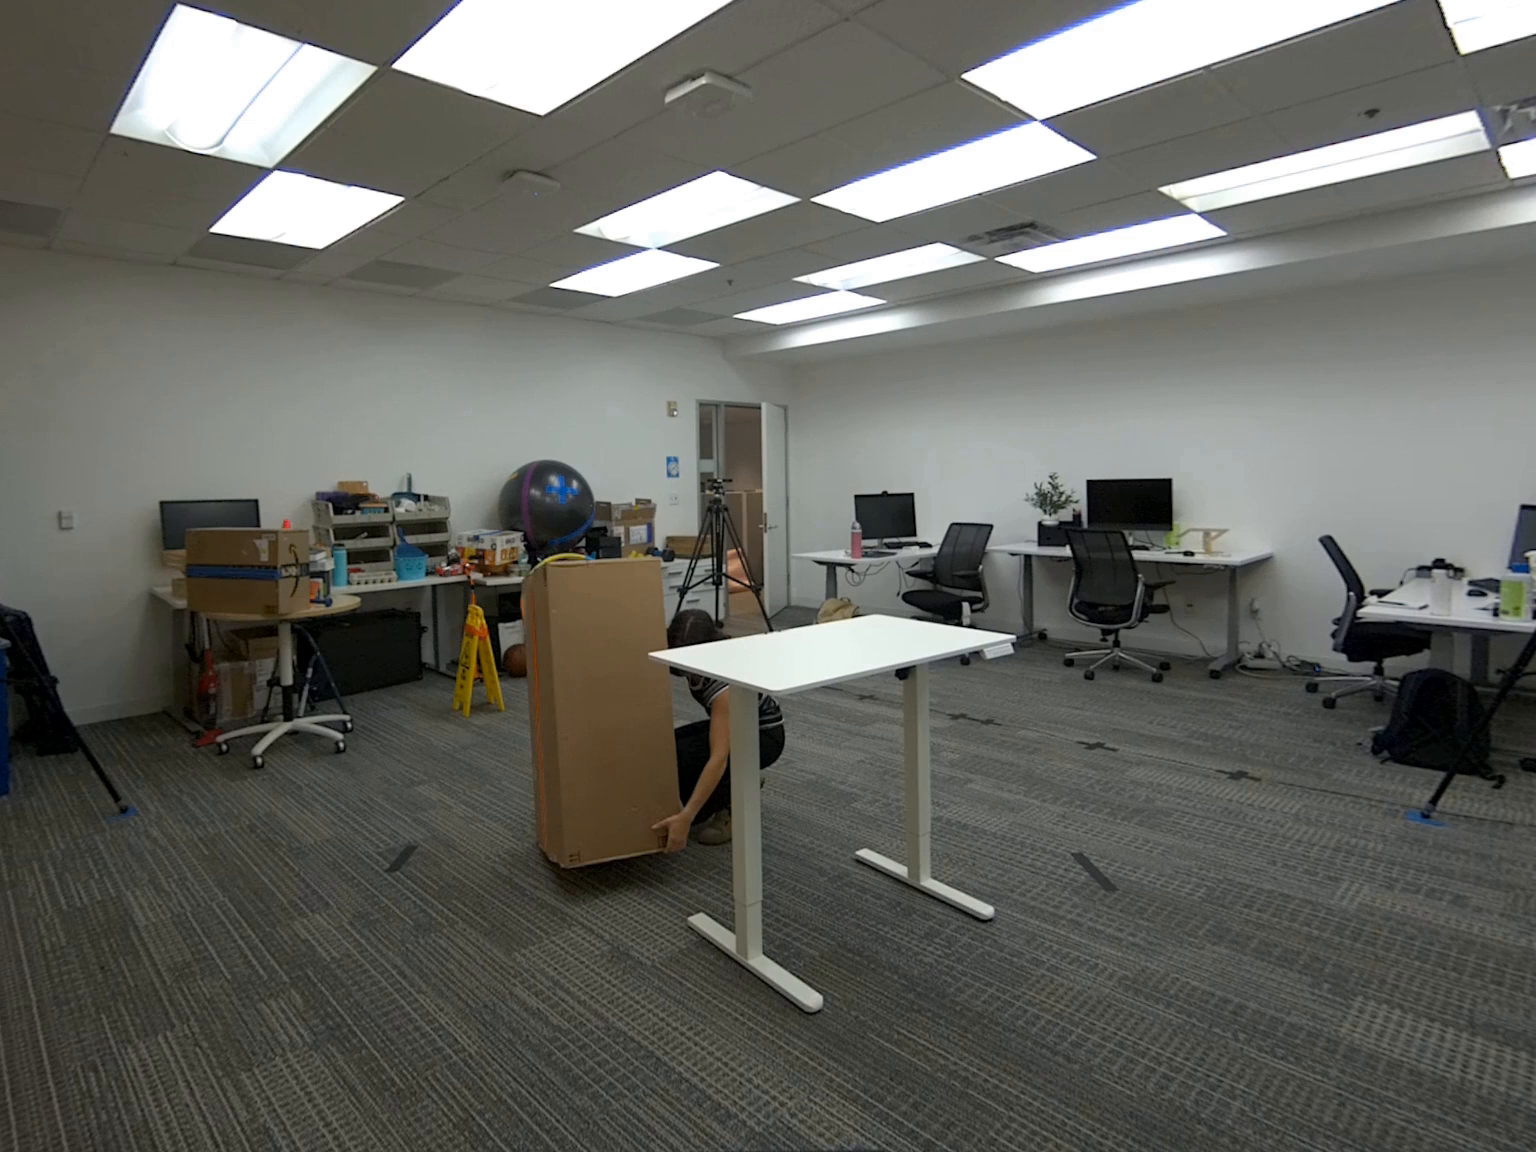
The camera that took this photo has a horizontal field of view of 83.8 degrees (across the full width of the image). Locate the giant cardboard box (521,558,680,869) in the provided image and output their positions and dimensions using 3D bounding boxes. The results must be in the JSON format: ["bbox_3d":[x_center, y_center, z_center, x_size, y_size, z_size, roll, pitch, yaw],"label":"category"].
[{"bbox_3d":[-0.654,0.477,3.217,0.418,1.034,0.584,-1,-8,-23],"label":"giant cardboard box"}]
